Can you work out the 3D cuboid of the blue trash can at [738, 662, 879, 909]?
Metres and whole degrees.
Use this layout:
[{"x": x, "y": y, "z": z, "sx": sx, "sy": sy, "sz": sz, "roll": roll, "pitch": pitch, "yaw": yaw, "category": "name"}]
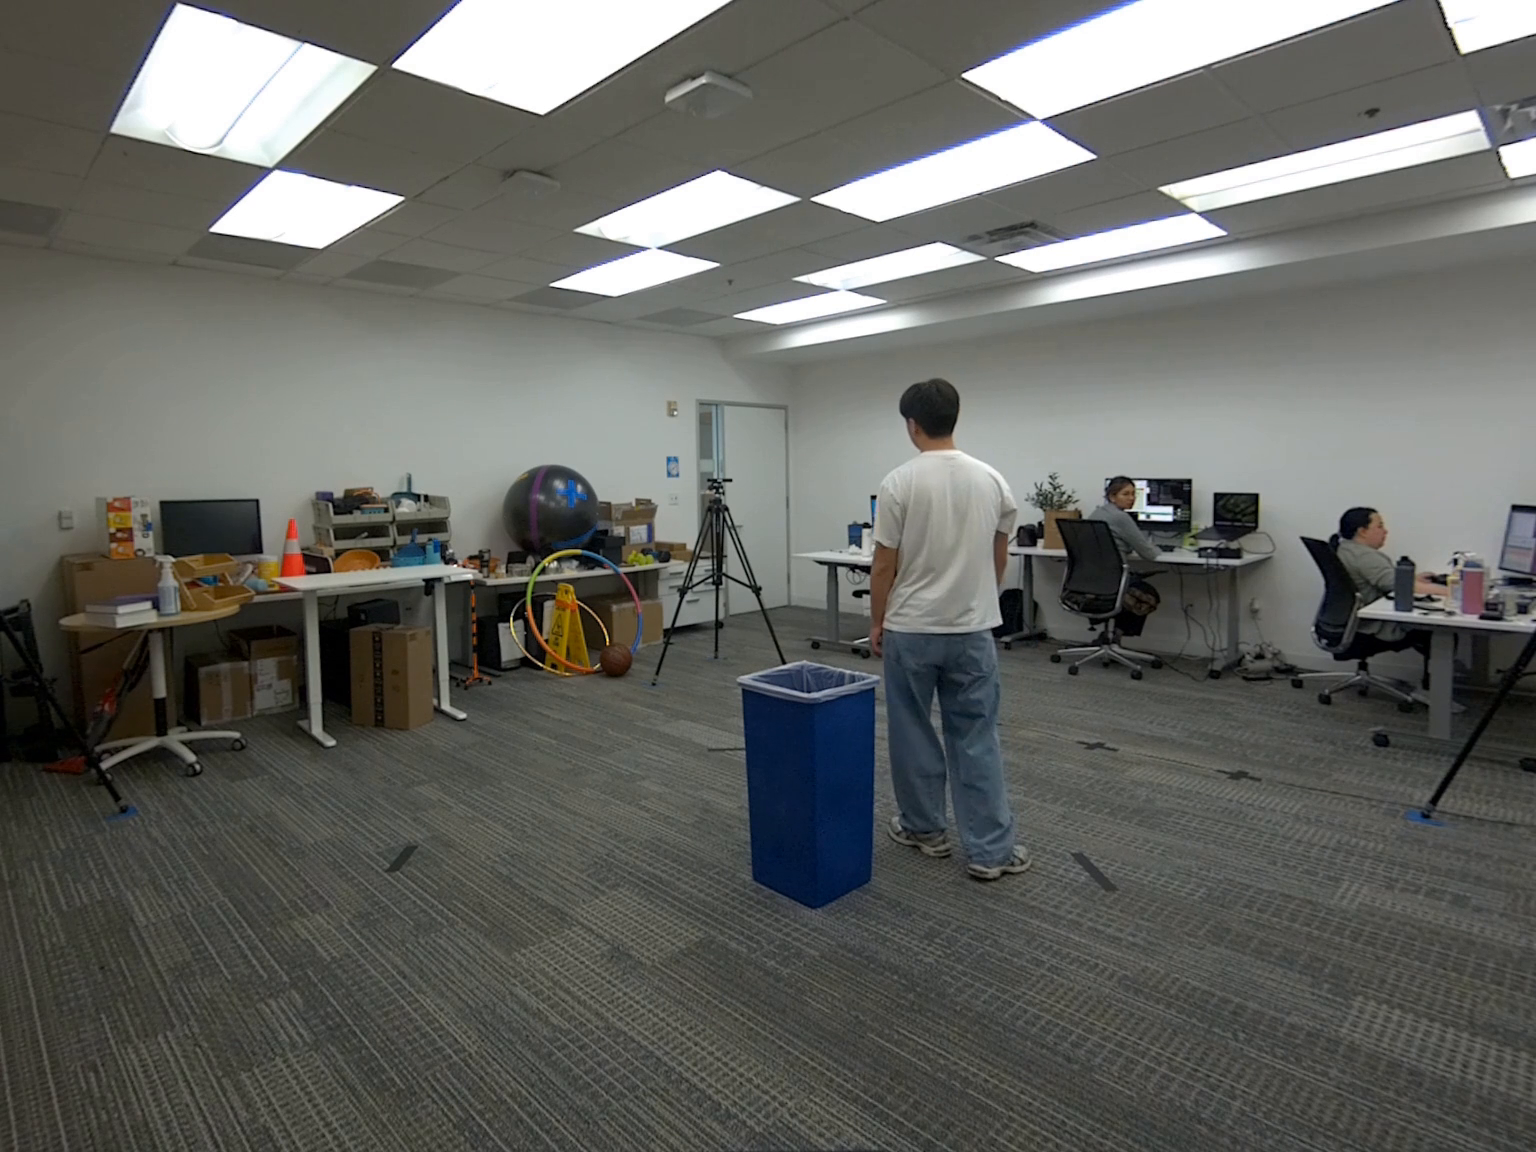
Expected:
[{"x": 0.146, "y": 0.702, "z": 2.941, "sx": 0.364, "sy": 0.711, "sz": 0.389, "roll": -4, "pitch": 5, "yaw": -44, "category": "blue trash can"}]
